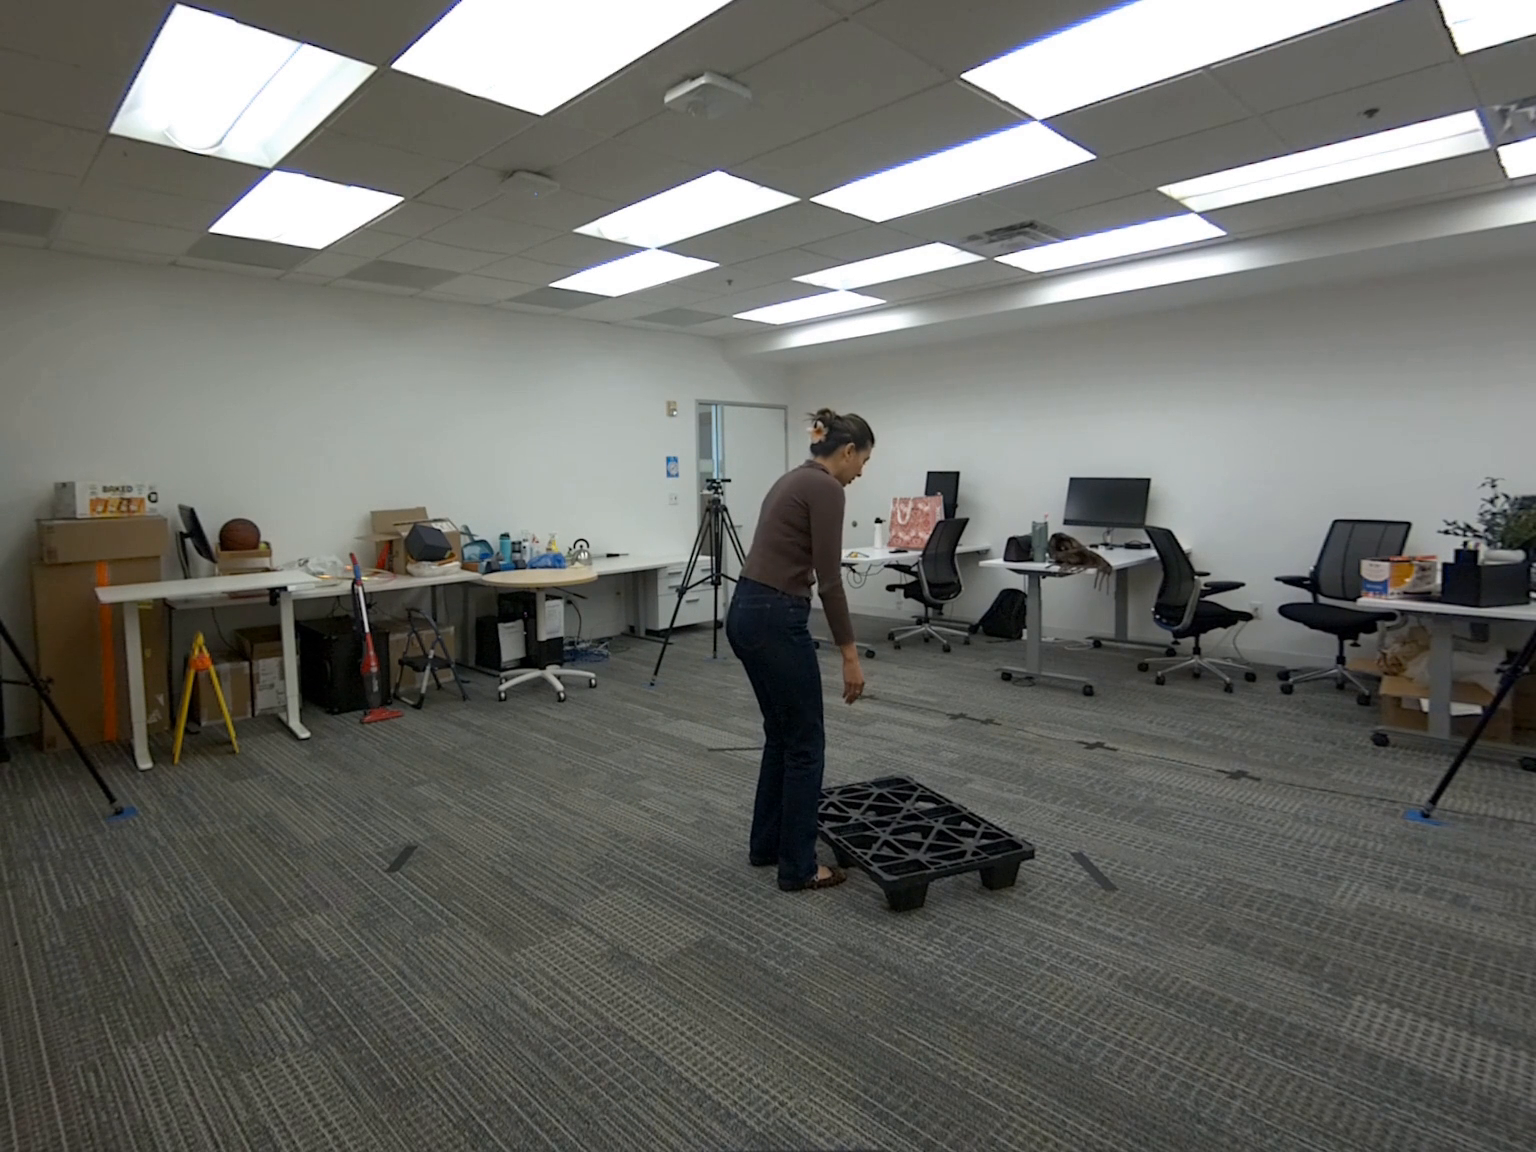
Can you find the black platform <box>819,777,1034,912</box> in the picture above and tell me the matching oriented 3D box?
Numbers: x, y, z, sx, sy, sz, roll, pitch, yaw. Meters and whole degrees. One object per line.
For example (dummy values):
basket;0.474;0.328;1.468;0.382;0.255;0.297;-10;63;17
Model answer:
black platform;0.476;0.965;3.150;0.593;0.142;0.825;-5;7;-23
